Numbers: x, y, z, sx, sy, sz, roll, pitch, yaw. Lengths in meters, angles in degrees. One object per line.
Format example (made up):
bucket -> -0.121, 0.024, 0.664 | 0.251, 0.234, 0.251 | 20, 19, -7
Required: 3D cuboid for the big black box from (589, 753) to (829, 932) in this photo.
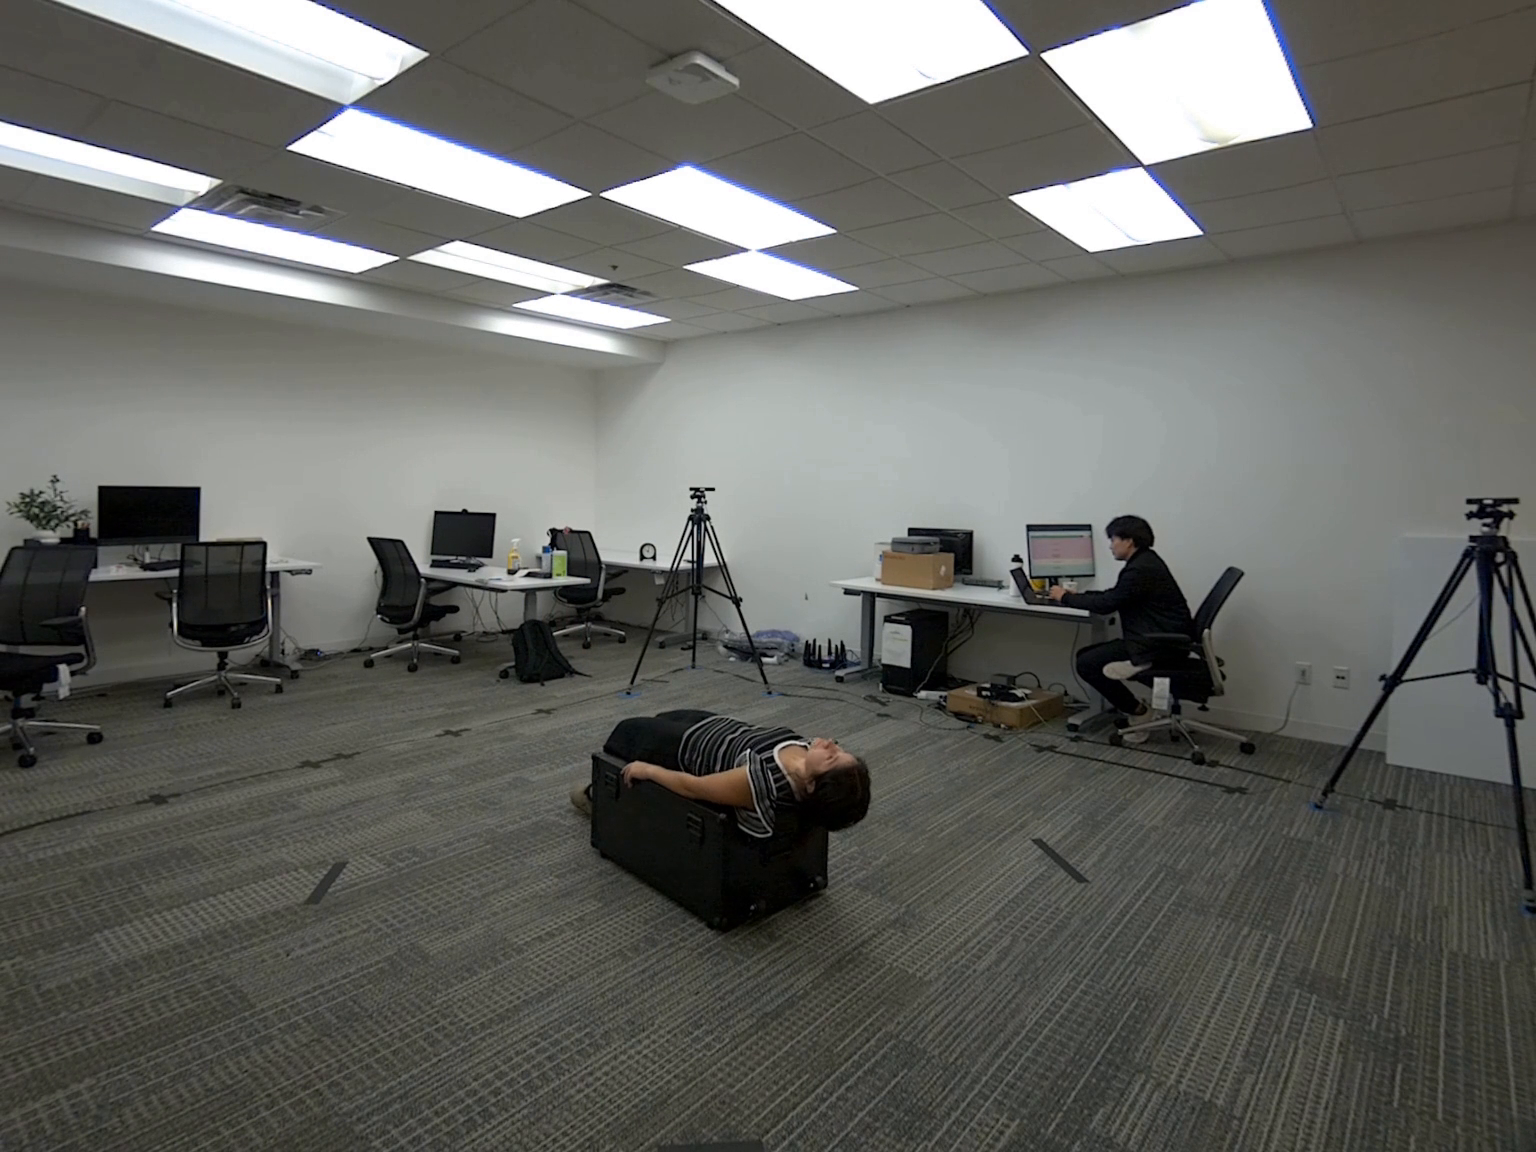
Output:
big black box -> -0.214, 0.890, 3.044 | 0.505, 0.395, 0.890 | -1, 4, -41
